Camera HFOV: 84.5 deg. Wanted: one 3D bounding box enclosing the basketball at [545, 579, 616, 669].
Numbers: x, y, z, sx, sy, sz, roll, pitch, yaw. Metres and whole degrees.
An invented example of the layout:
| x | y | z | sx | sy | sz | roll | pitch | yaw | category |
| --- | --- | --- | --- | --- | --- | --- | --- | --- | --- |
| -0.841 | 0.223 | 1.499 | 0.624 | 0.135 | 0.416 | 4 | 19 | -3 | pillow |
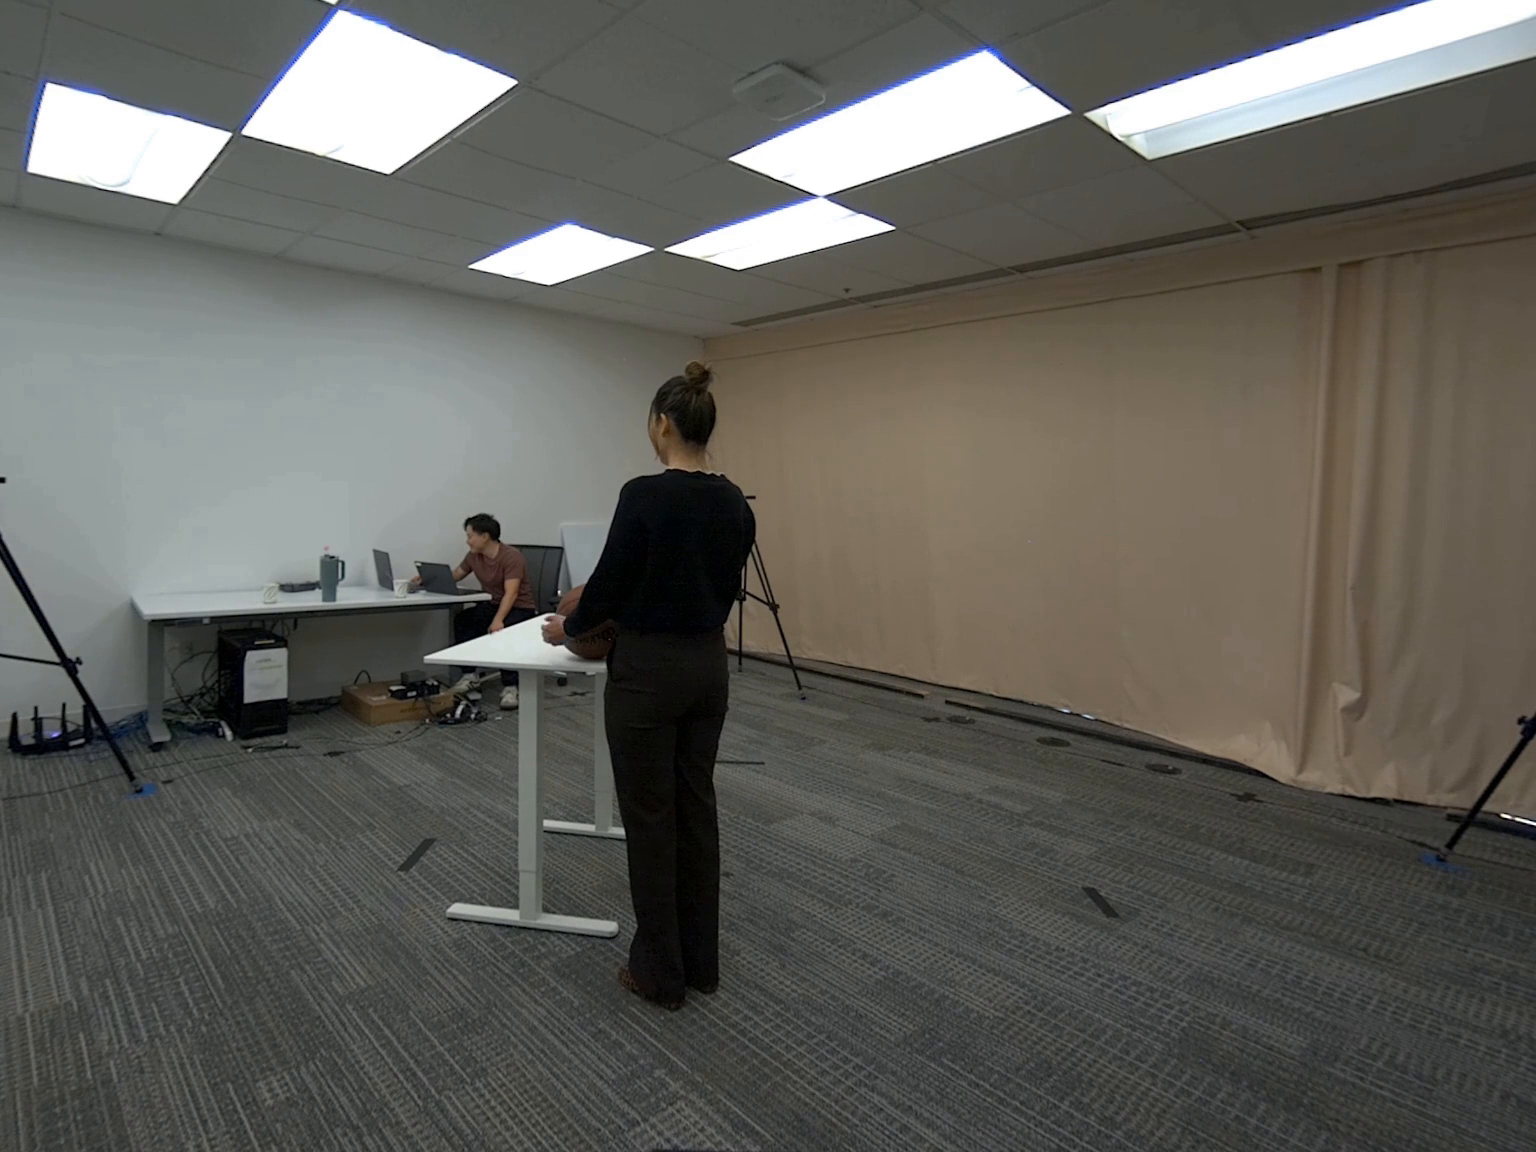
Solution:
| x | y | z | sx | sy | sz | roll | pitch | yaw | category |
| --- | --- | --- | --- | --- | --- | --- | --- | --- | --- |
| -0.547 | 0.142 | 2.622 | 0.236 | 0.235 | 0.237 | 1 | 4 | -1 | basketball |
